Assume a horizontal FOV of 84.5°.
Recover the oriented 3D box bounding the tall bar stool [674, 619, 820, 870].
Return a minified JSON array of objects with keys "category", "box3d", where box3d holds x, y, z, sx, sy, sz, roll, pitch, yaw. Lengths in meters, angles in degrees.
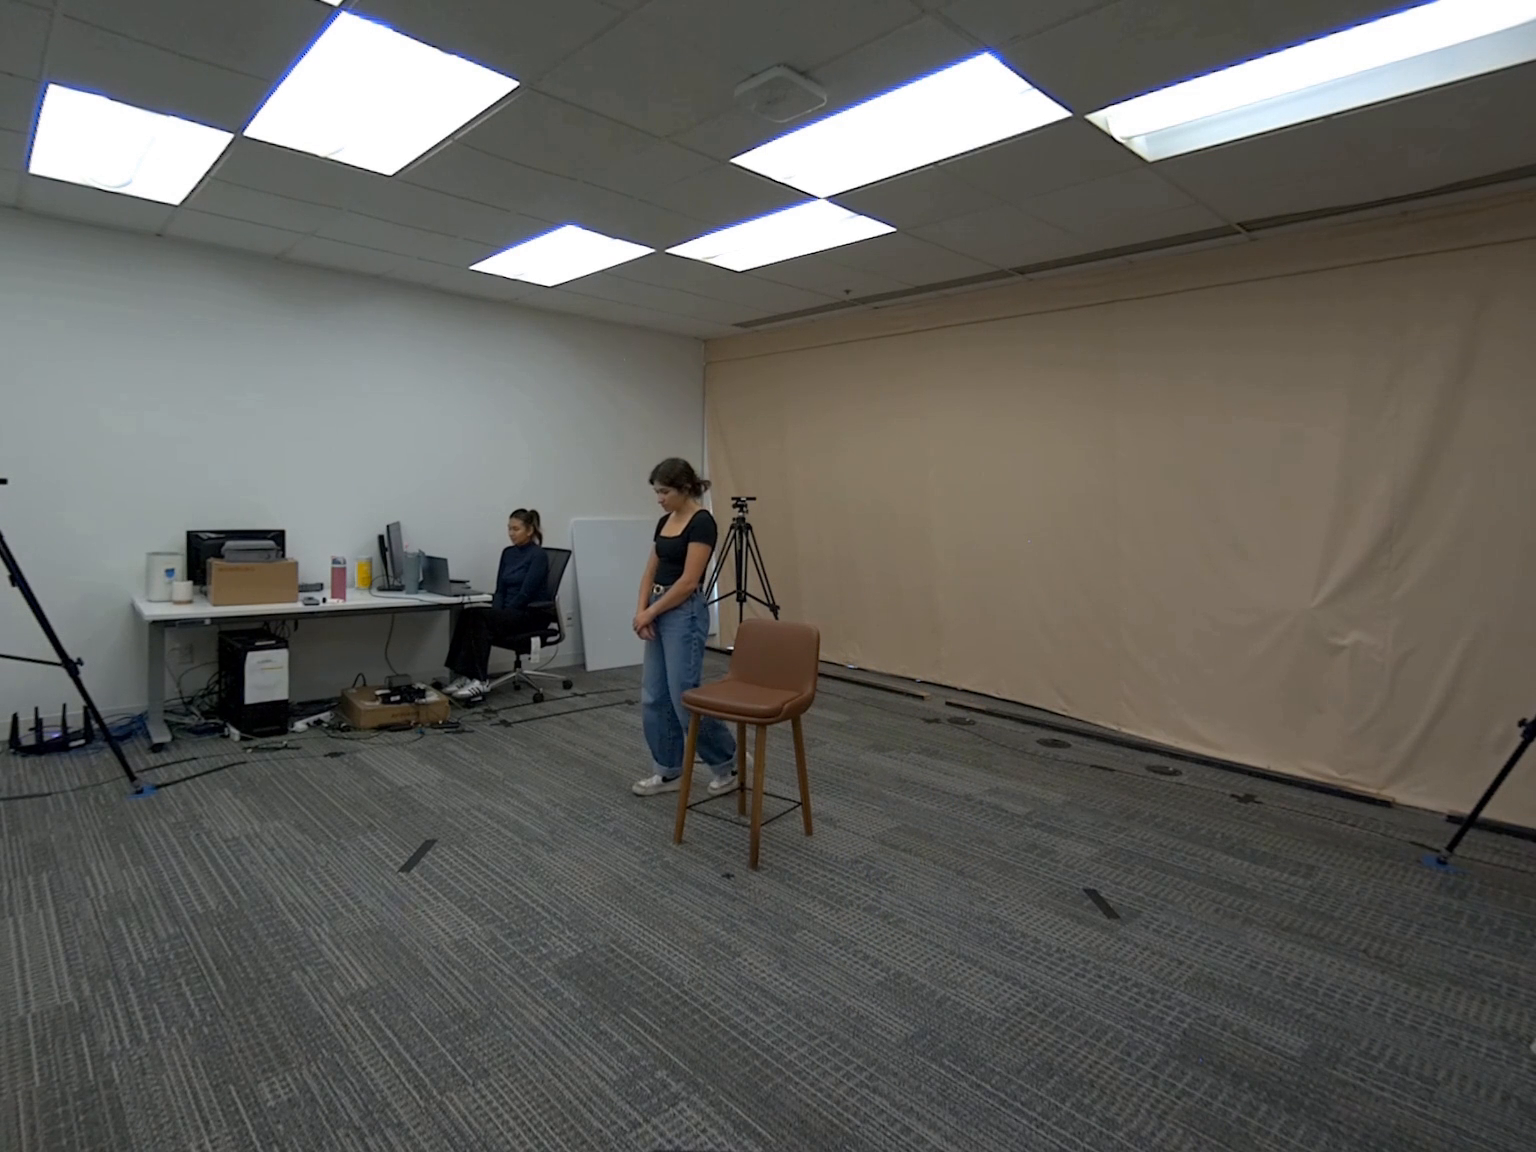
[{"category":"tall bar stool","box3d":[-0.080,0.647,3.430,0.467,0.889,0.457,4,2,37]}]
